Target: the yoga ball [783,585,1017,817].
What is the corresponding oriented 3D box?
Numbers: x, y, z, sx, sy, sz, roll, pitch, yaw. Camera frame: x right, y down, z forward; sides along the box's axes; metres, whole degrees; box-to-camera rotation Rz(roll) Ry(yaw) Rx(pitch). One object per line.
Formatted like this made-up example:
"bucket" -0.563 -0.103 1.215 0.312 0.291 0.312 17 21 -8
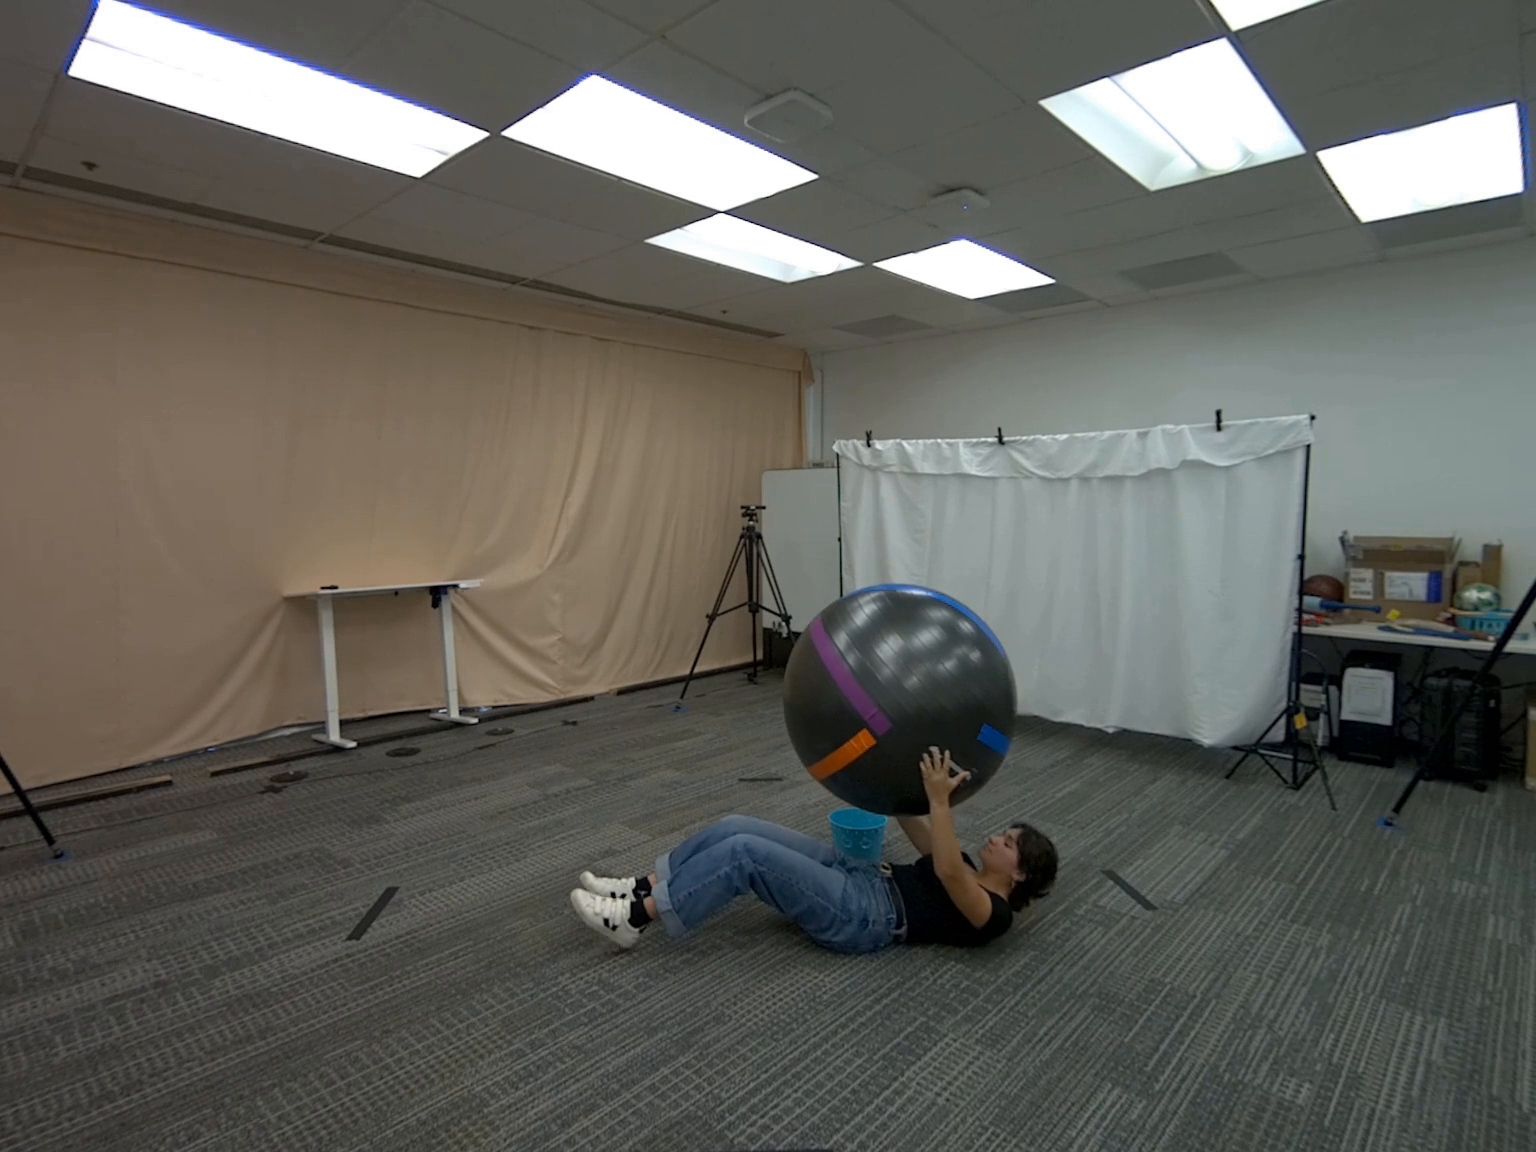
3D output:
"yoga ball" 0.430 0.411 2.787 0.757 0.756 0.761 0 4 -2
